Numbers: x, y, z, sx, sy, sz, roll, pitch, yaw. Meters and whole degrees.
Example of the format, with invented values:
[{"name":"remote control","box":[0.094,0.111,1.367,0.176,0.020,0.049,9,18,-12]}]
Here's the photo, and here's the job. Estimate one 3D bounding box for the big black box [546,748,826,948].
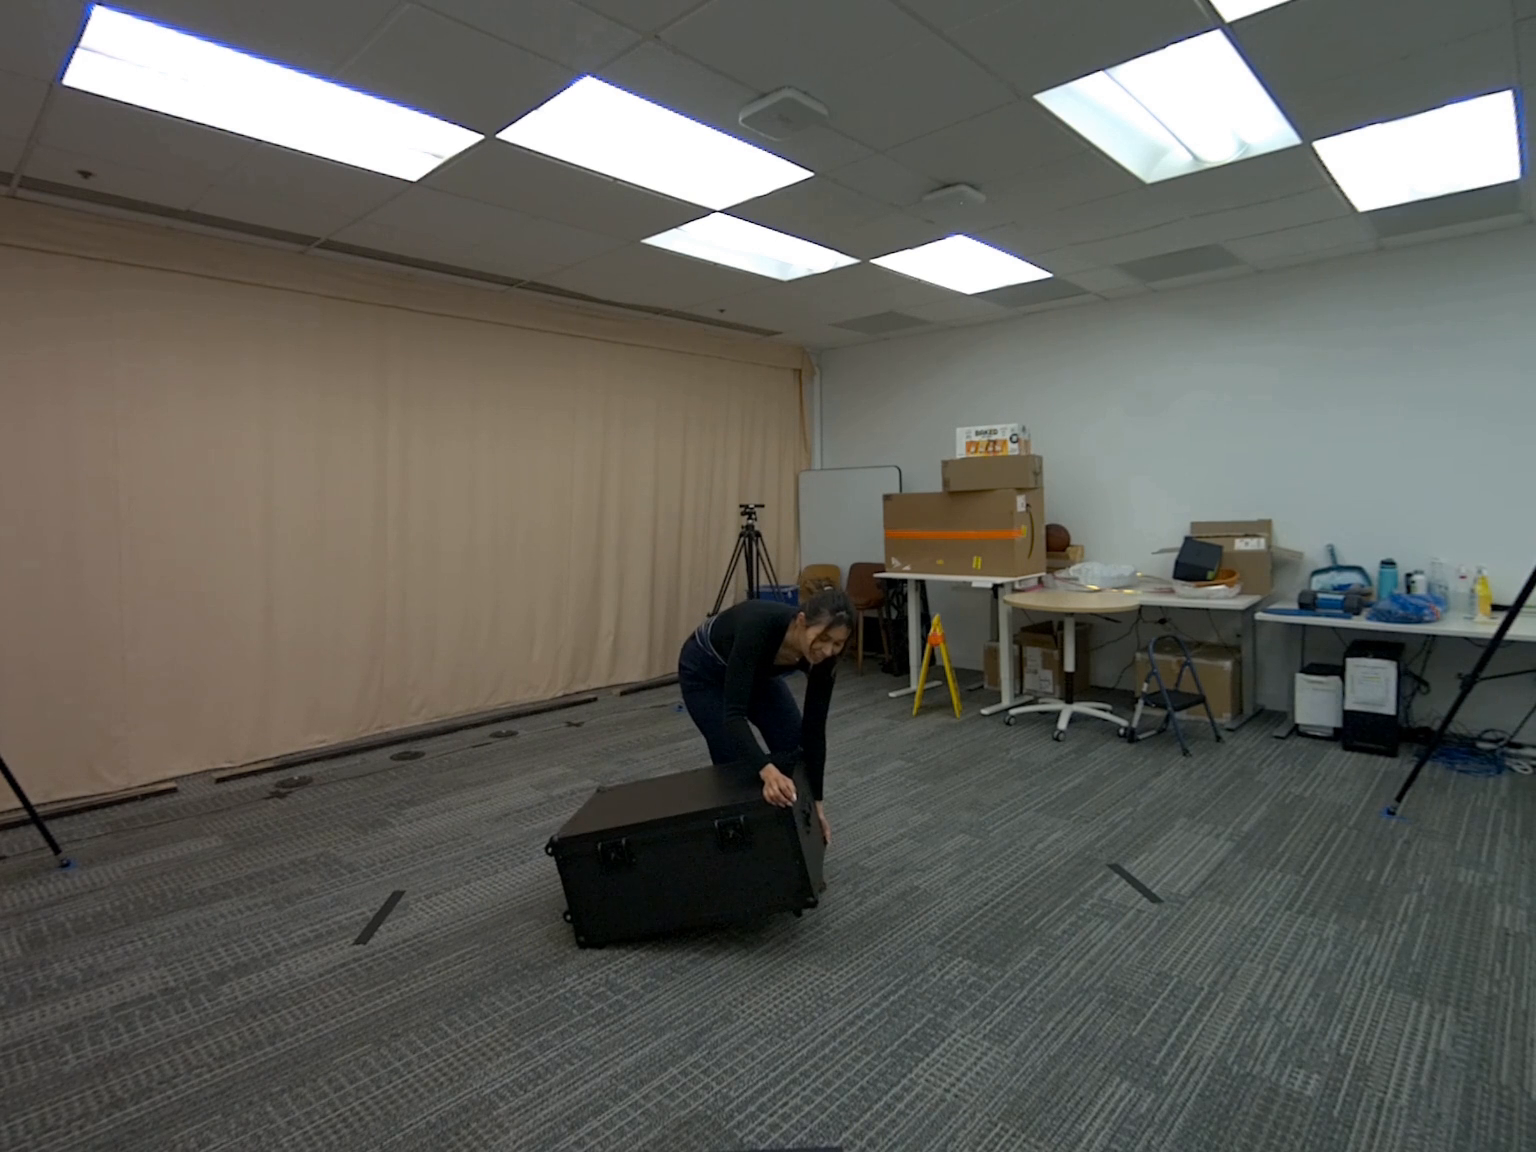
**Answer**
[{"name":"big black box","box":[-0.273,0.900,2.823,0.869,0.396,0.517,-13,2,10]}]
